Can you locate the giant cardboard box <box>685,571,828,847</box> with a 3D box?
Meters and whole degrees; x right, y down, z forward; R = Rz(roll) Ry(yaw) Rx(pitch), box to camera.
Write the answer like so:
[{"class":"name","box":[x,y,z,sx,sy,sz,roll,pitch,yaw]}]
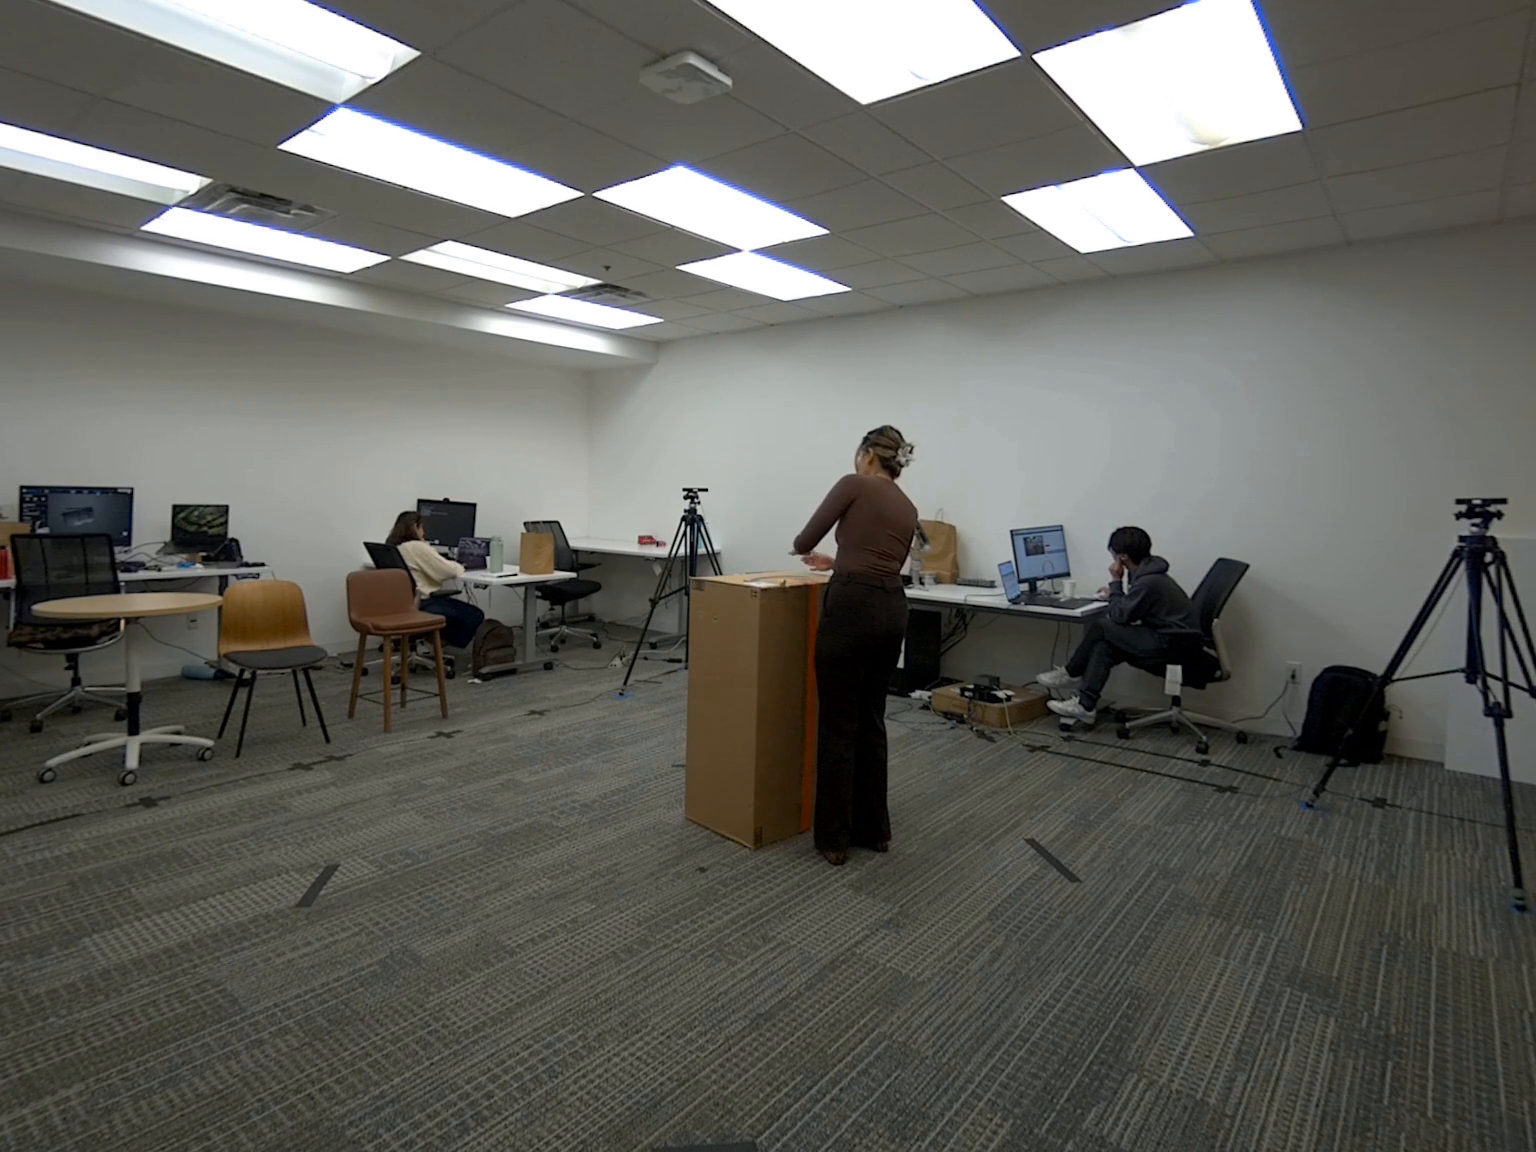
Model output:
[{"class":"giant cardboard box","box":[-0.003,0.513,3.604,0.566,1.023,0.462,-2,5,-43]}]
